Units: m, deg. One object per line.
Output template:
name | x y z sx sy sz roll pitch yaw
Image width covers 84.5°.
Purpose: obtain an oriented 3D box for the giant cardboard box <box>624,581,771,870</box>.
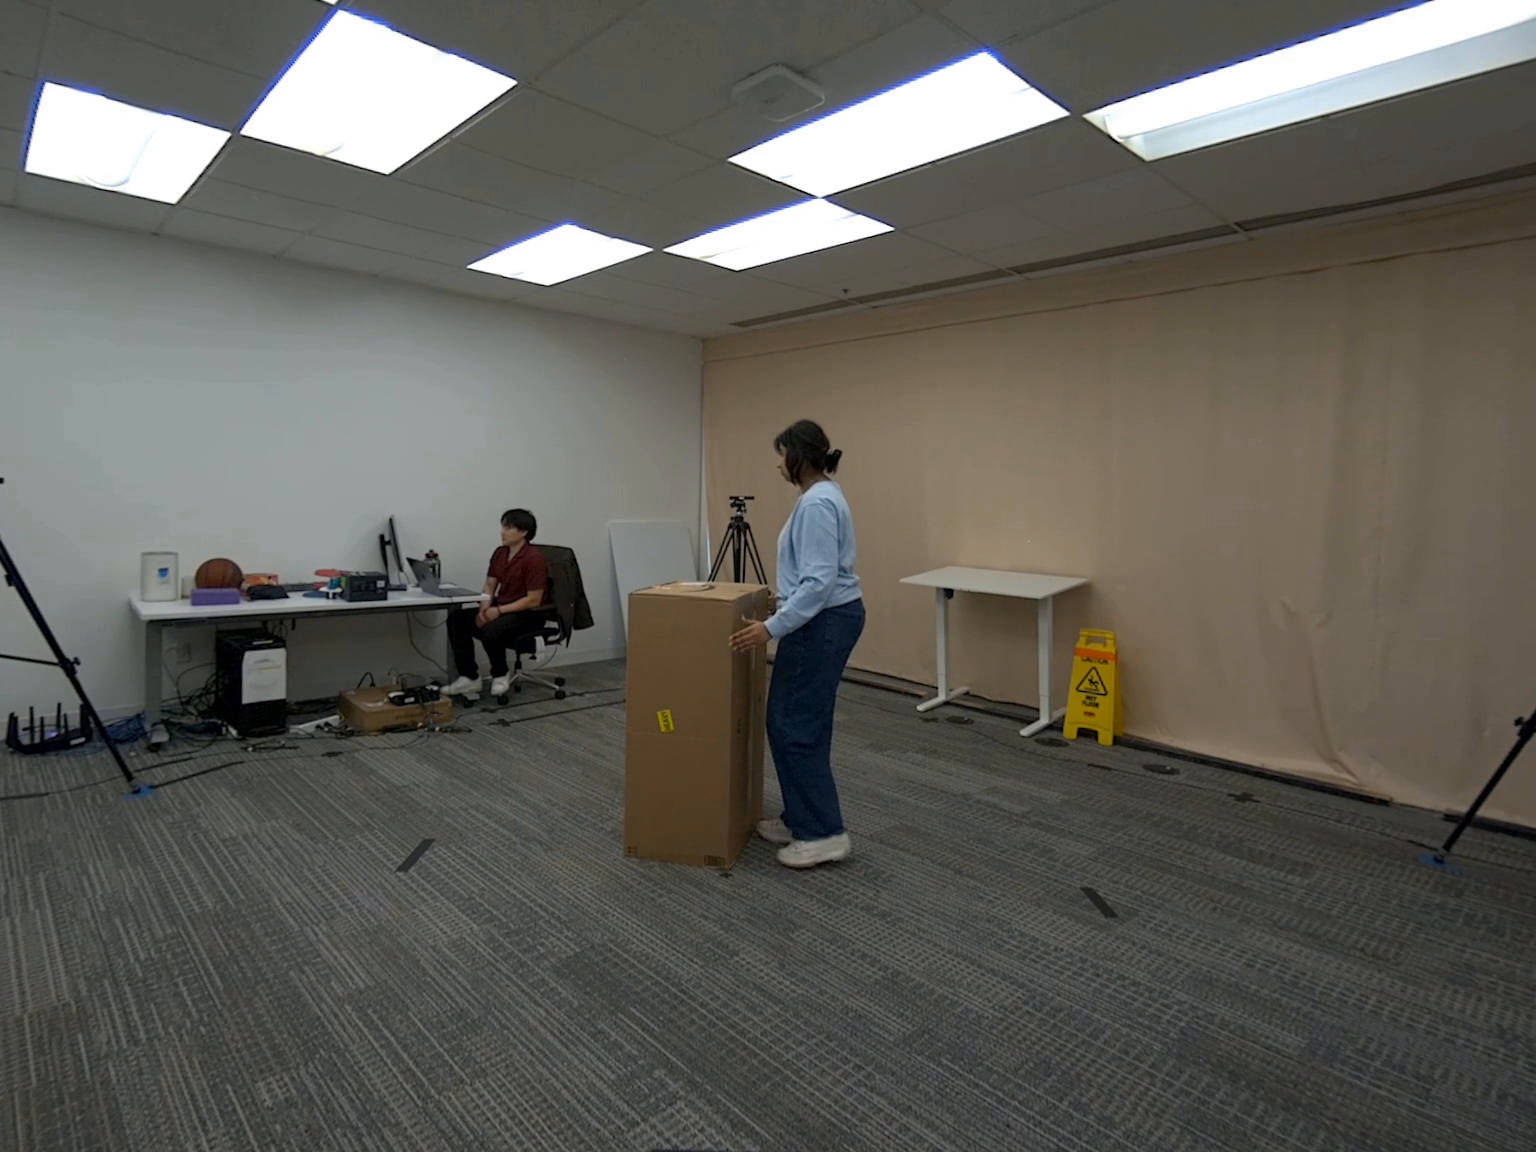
giant cardboard box | -0.284 0.563 3.440 0.431 1.023 0.572 2 3 13
